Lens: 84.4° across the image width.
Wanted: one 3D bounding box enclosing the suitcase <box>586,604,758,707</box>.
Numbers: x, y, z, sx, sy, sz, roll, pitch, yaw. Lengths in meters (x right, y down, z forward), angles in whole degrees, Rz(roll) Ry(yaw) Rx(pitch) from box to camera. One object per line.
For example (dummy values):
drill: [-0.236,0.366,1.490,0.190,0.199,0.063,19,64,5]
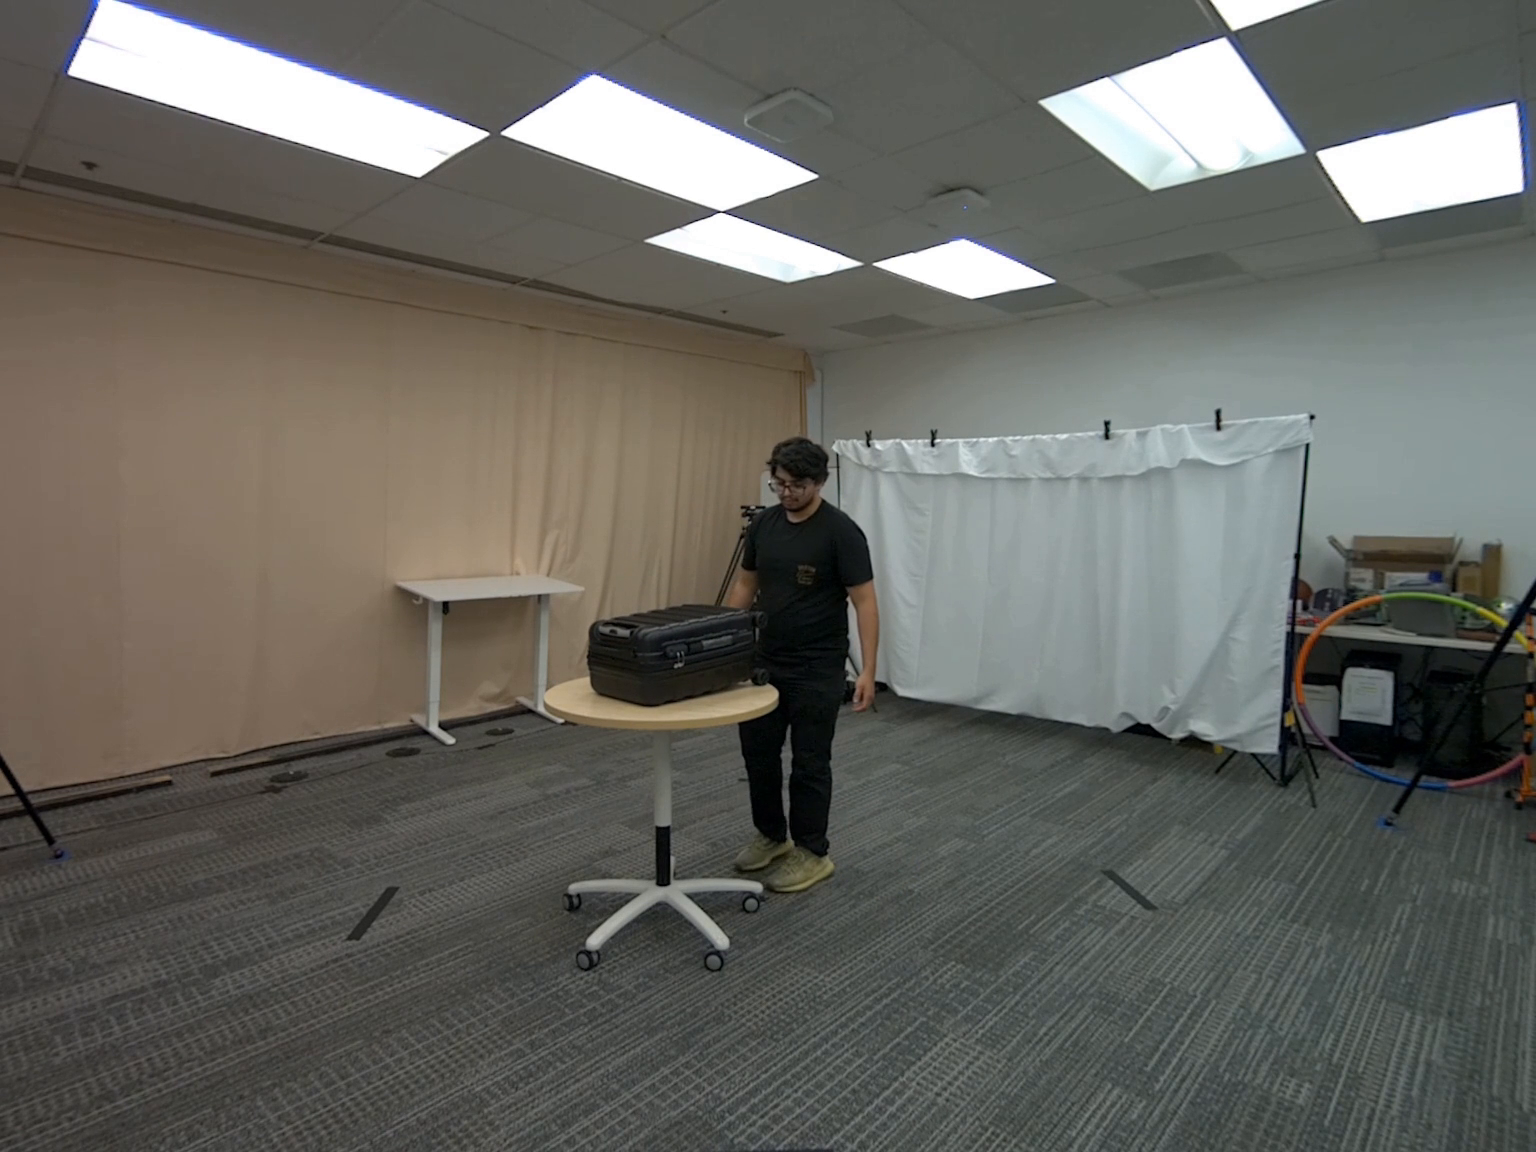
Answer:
suitcase: [-0.305,0.253,2.799,0.388,0.247,0.533,3,7,43]
